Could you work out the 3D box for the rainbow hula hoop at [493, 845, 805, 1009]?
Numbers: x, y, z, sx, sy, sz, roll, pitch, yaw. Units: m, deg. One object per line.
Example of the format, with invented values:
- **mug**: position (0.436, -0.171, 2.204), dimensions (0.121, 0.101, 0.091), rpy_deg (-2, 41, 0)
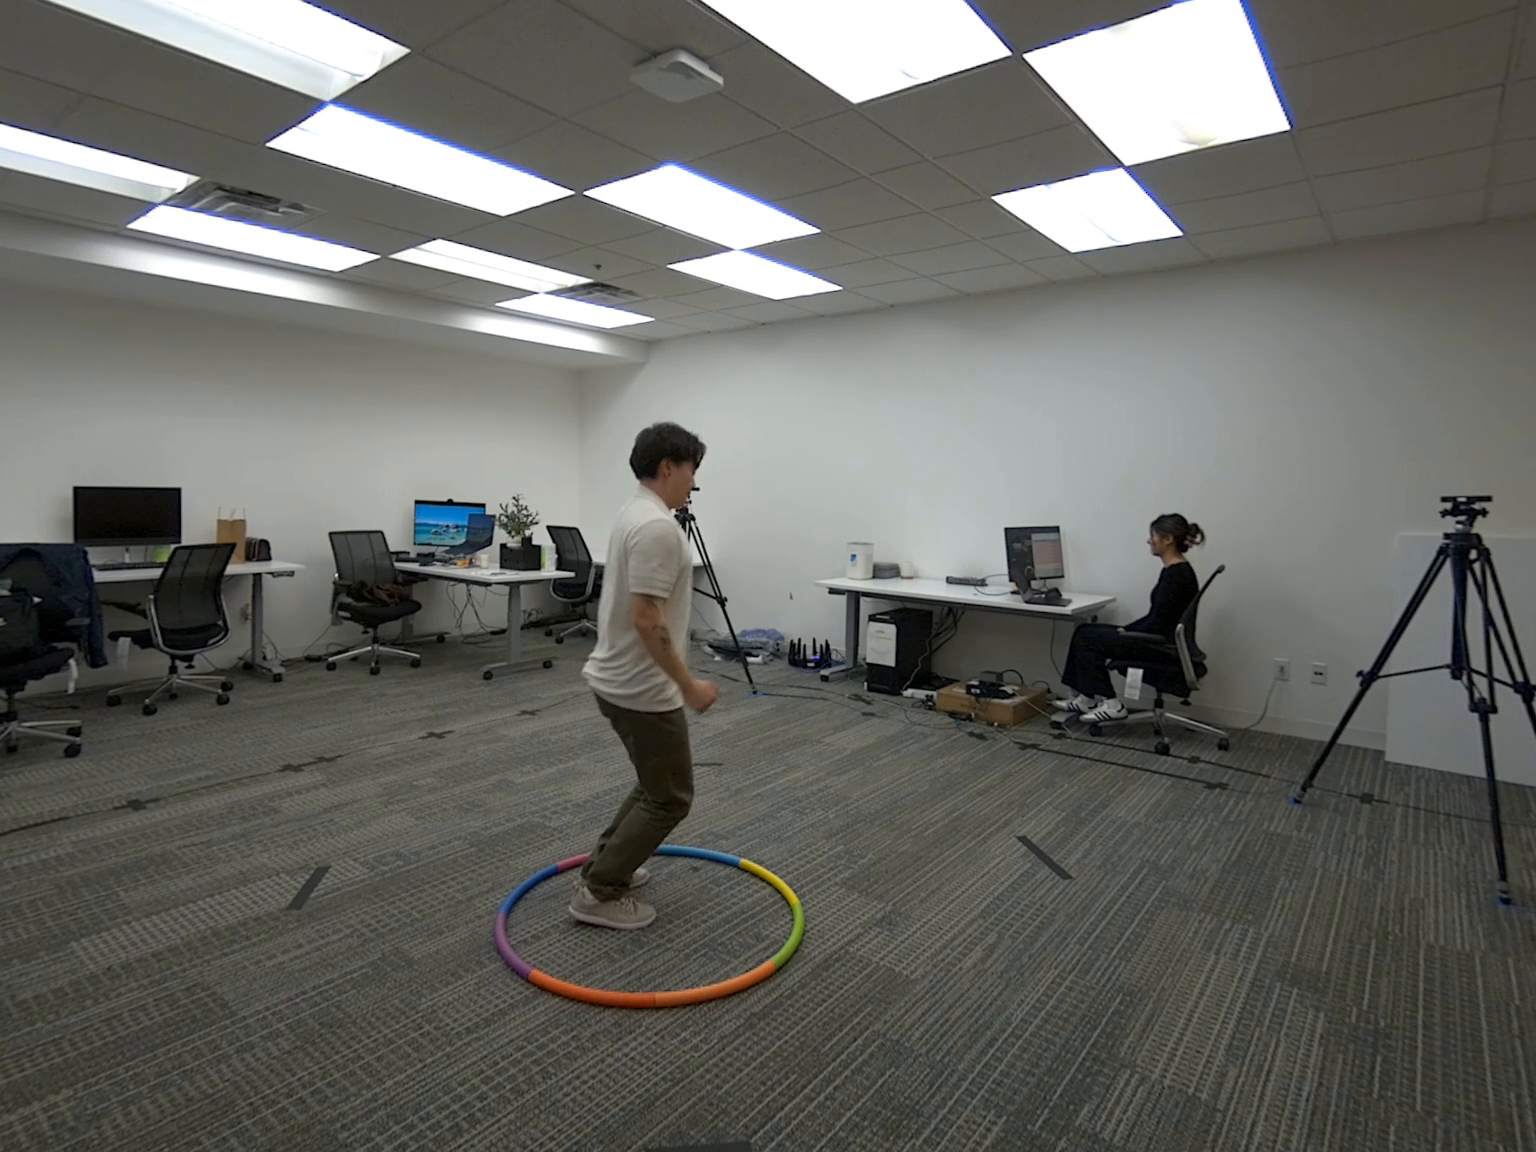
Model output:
- **rainbow hula hoop**: position (-0.384, 1.070, 2.749), dimensions (0.978, 0.035, 0.984), rpy_deg (1, 5, -2)
